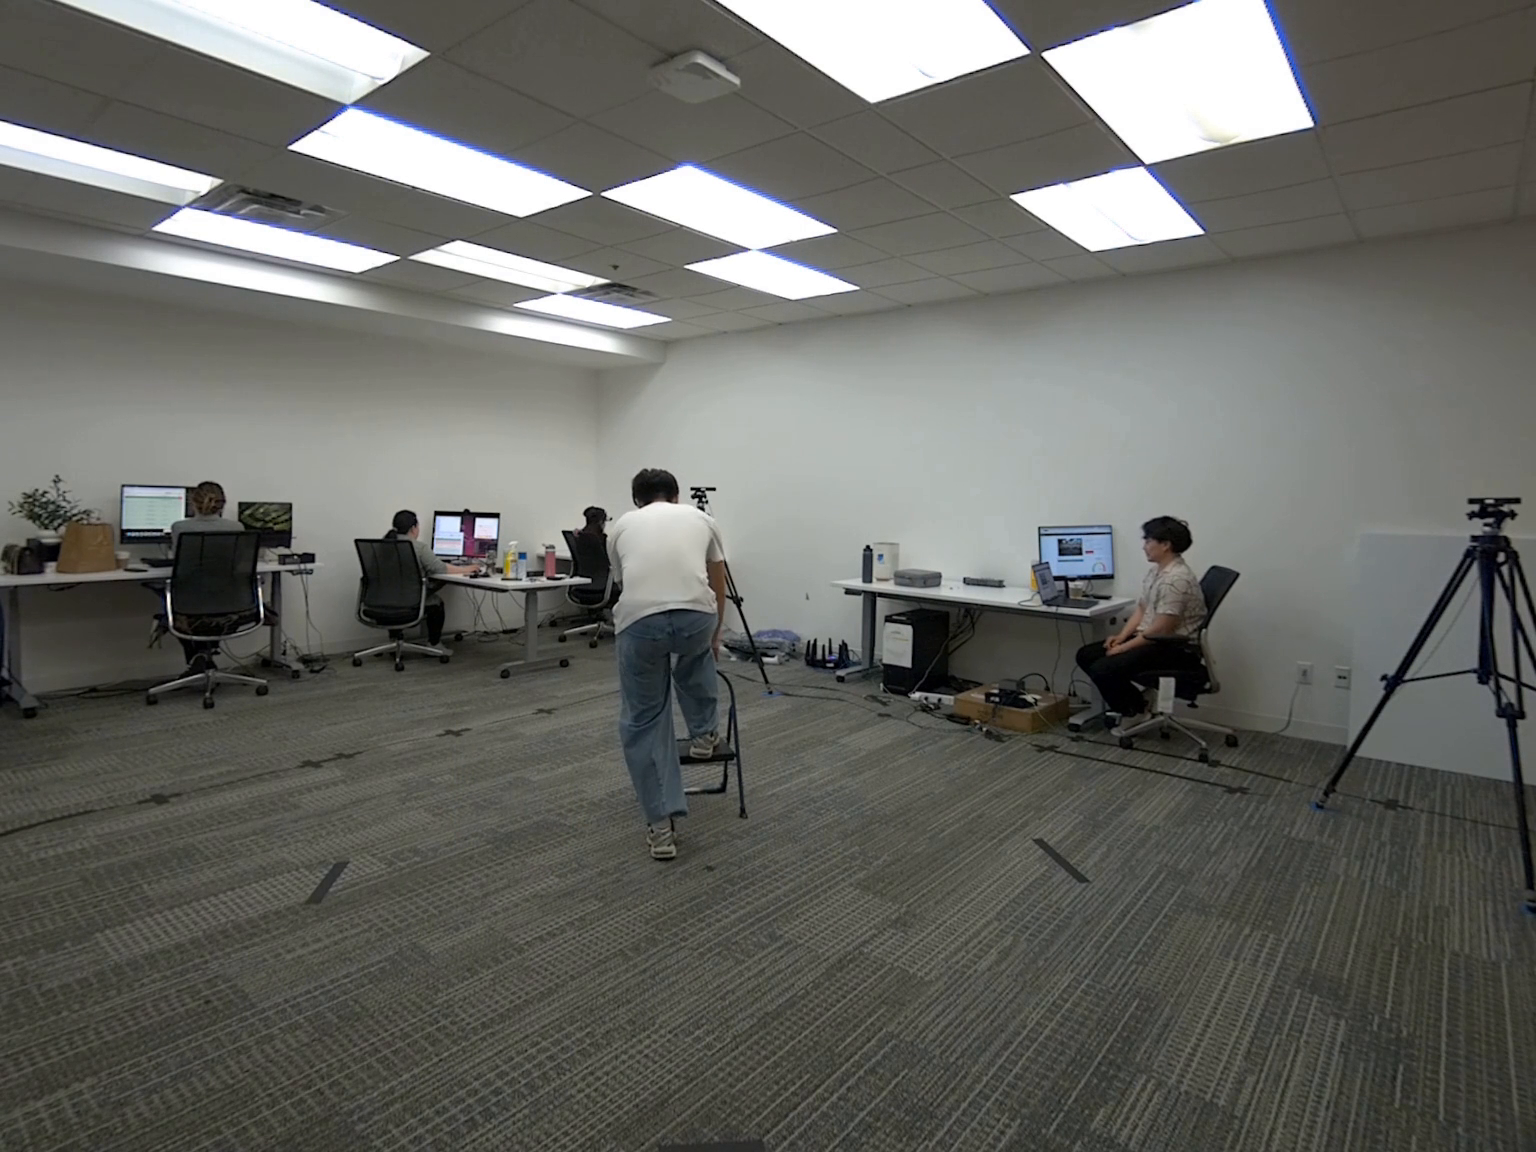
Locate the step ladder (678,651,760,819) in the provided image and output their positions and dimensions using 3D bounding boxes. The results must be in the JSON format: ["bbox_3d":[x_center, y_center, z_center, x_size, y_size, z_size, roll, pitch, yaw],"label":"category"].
[{"bbox_3d":[-0.339,0.705,3.694,0.423,0.605,0.356,1,3,-17],"label":"step ladder"}]
